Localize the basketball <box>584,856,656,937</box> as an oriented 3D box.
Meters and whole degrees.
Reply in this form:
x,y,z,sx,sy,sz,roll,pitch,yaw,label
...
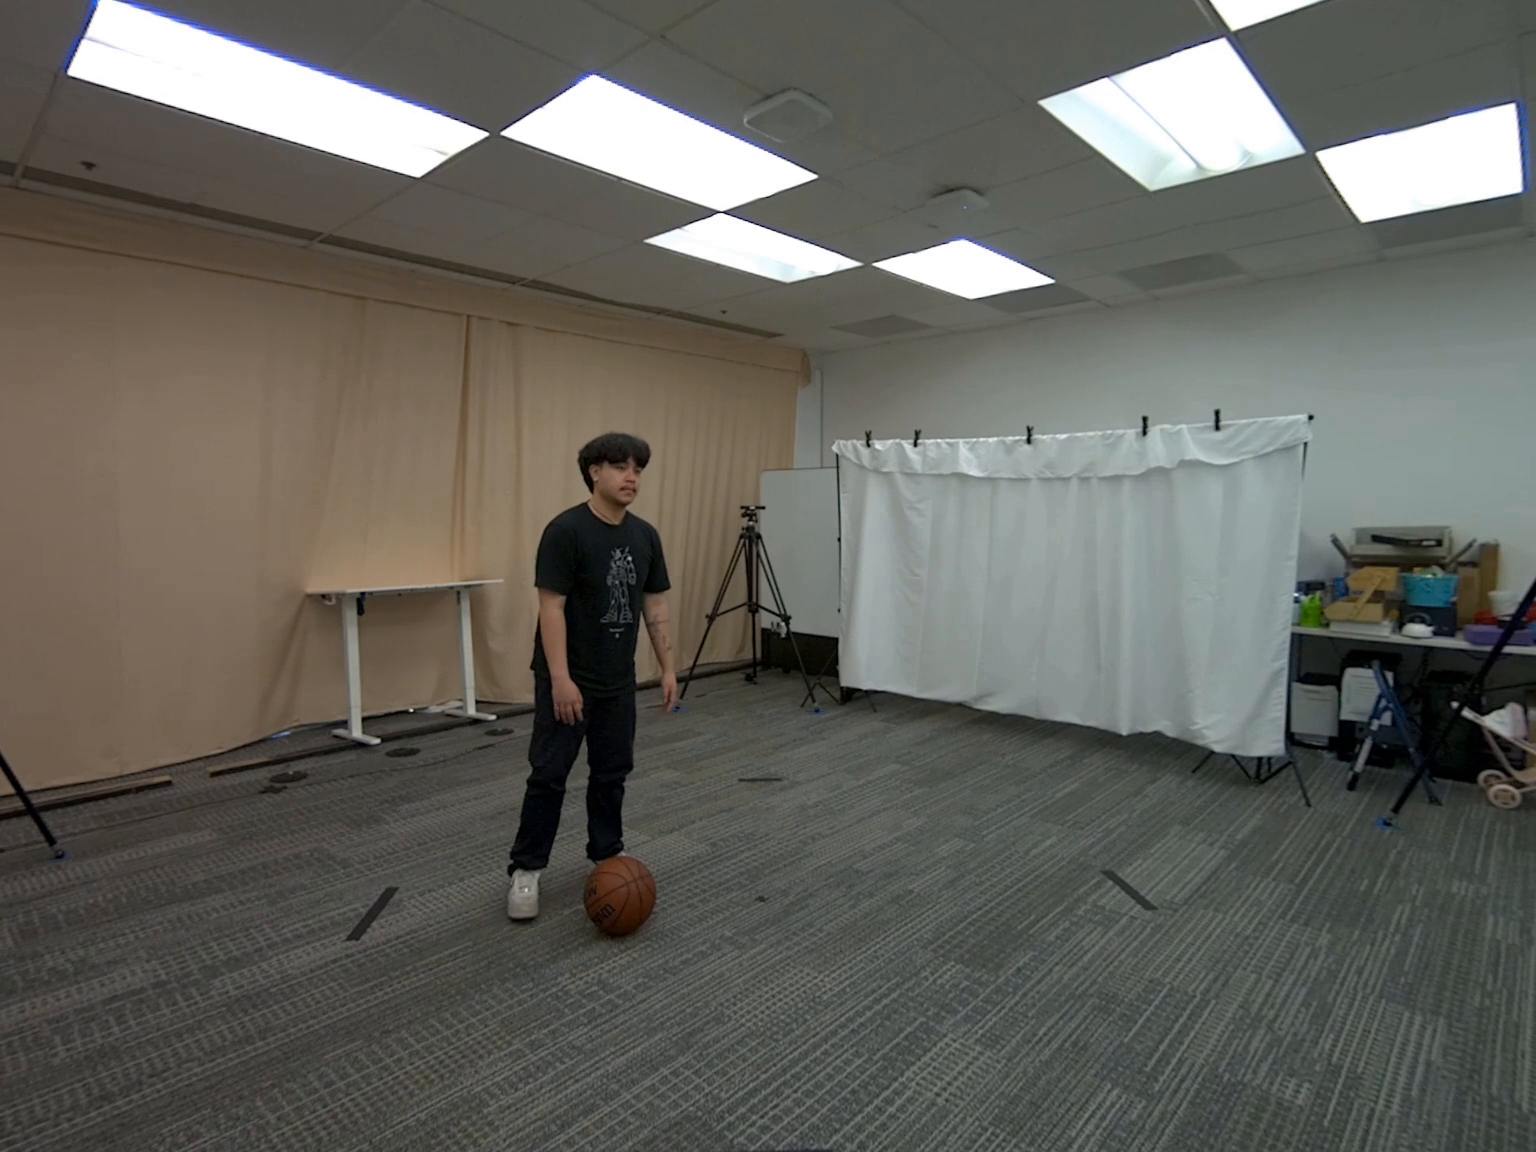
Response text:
x,y,z,sx,sy,sz,roll,pitch,yaw,label
-0.486,1.045,2.766,0.236,0.235,0.237,0,4,-2,basketball
